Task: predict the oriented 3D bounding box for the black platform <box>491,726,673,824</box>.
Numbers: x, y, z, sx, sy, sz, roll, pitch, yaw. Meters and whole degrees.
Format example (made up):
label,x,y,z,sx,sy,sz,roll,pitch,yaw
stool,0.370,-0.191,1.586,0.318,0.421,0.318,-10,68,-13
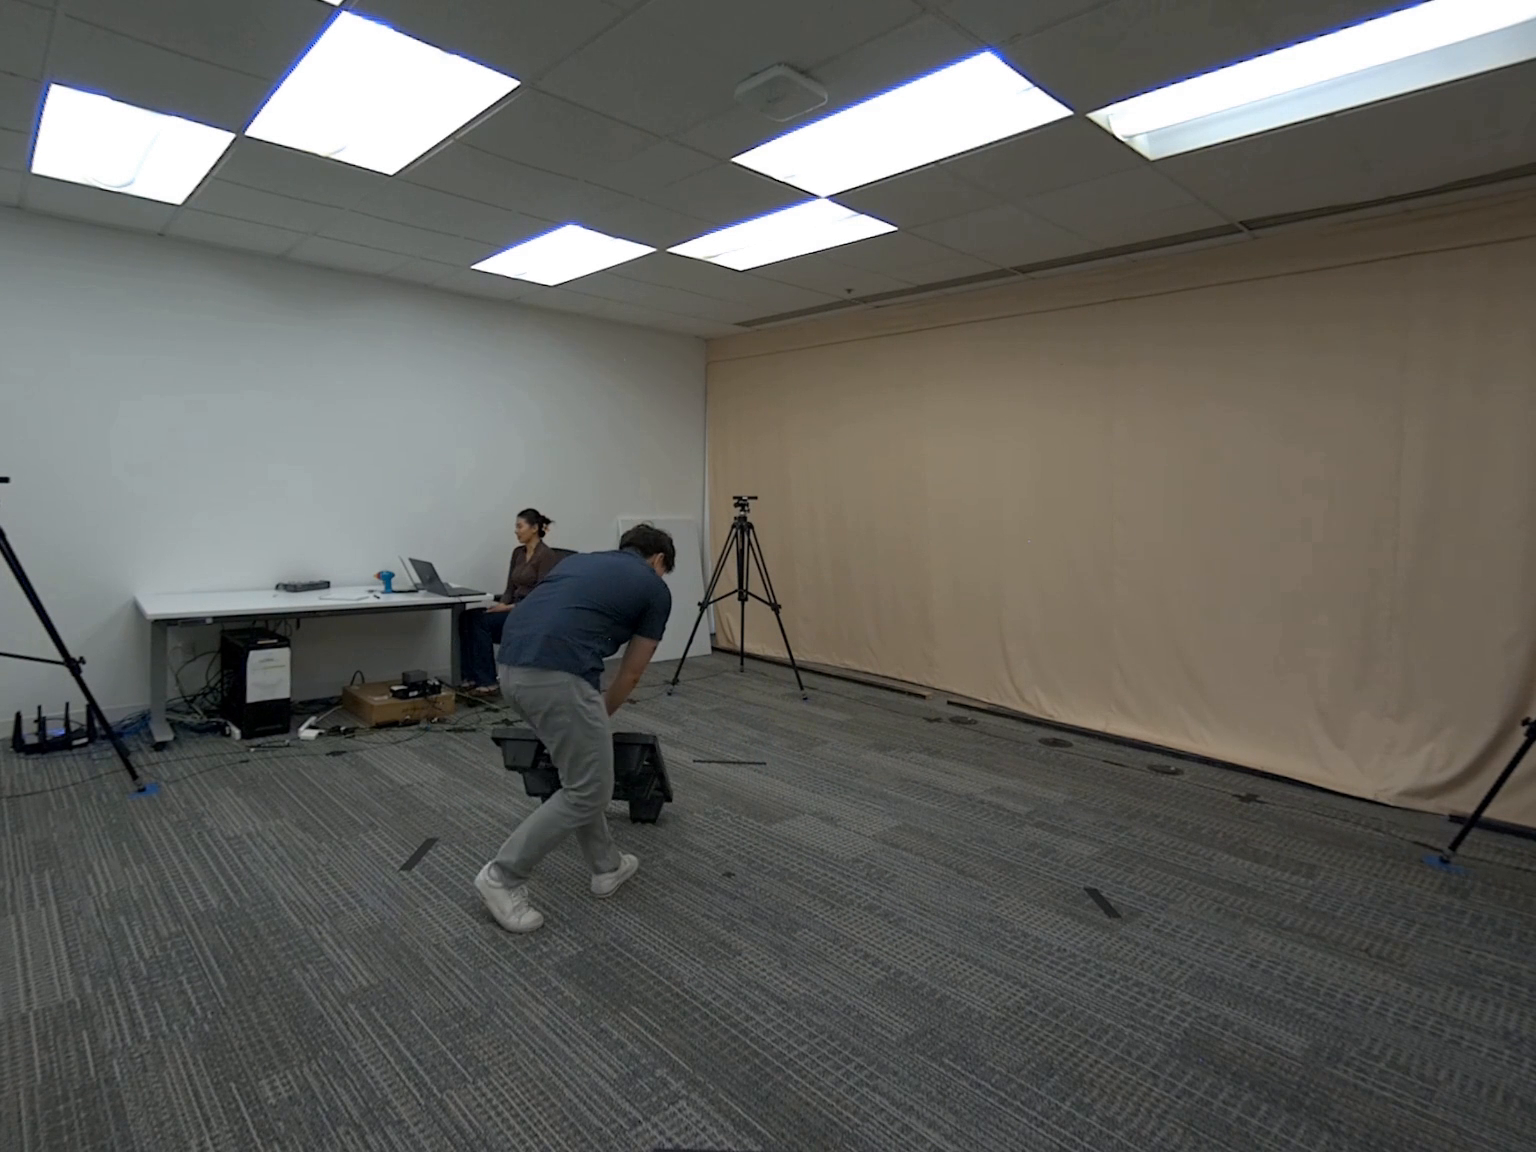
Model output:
label,x,y,z,sx,sy,sz,roll,pitch,yaw
black platform,-0.713,0.806,3.322,0.606,0.146,0.789,1,-31,1
